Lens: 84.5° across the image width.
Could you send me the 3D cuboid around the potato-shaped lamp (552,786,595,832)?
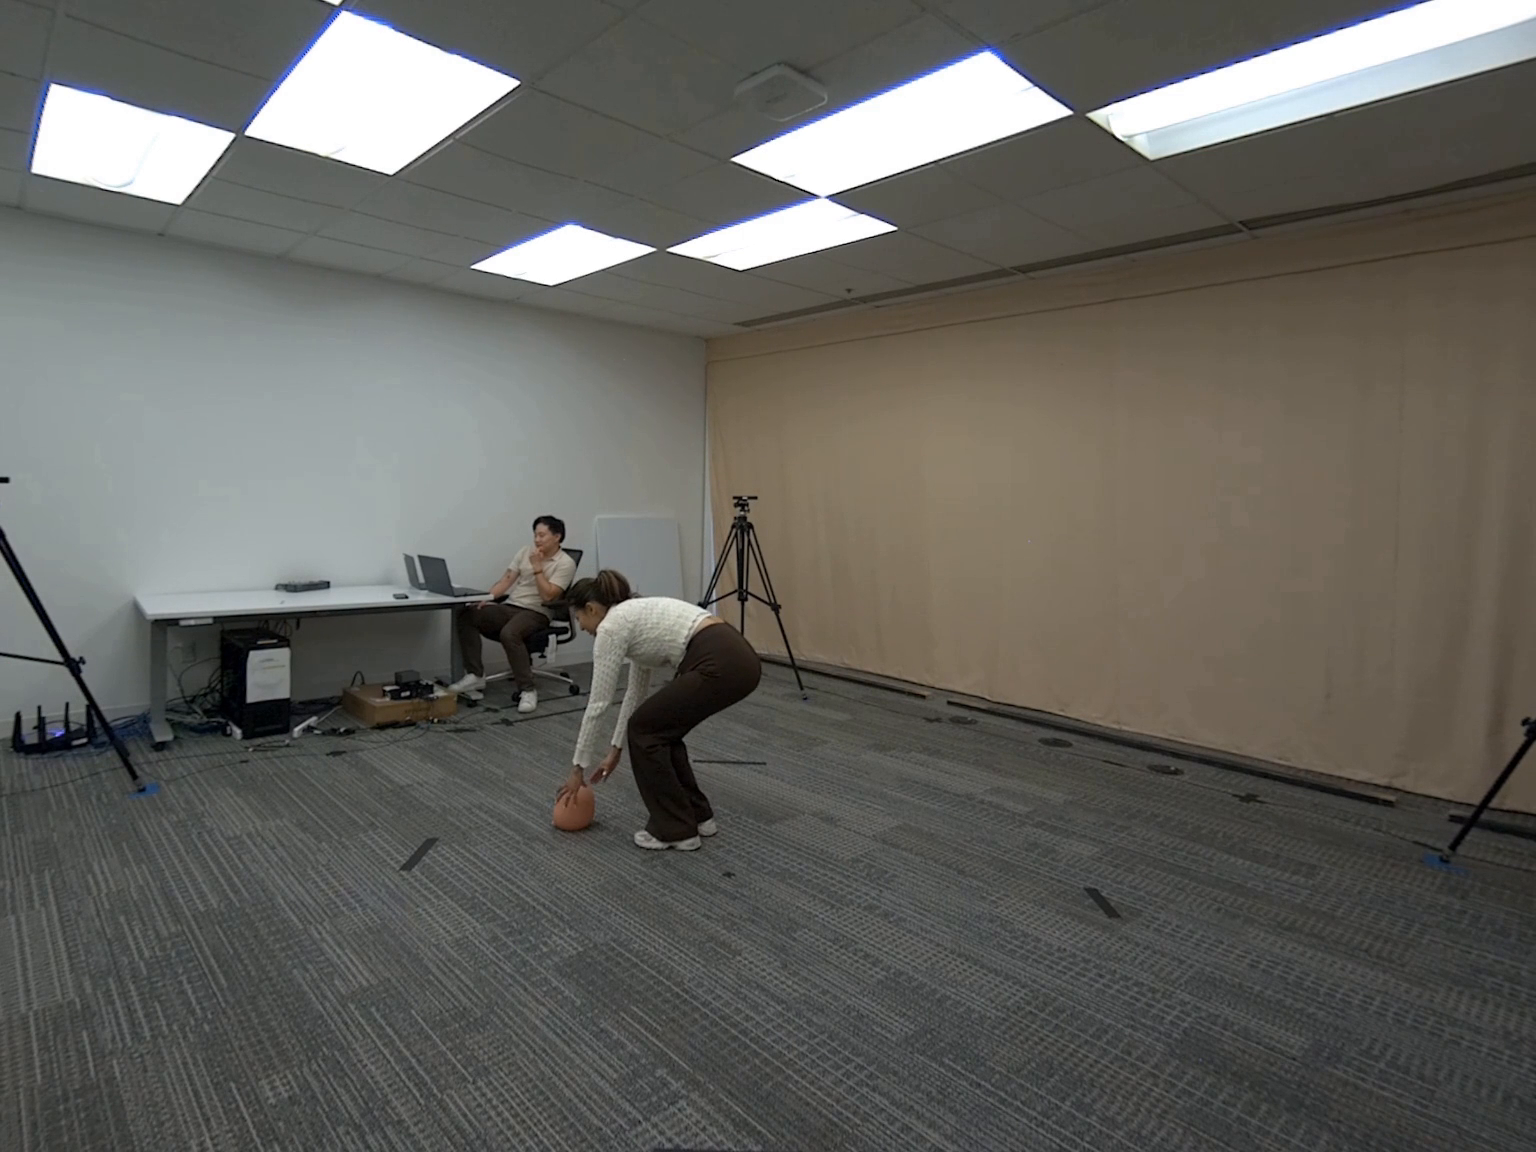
[{"bbox_3d":[-0.808,0.941,3.510,0.175,0.197,0.161,4,4,35],"label":"potato-shaped lamp"}]
